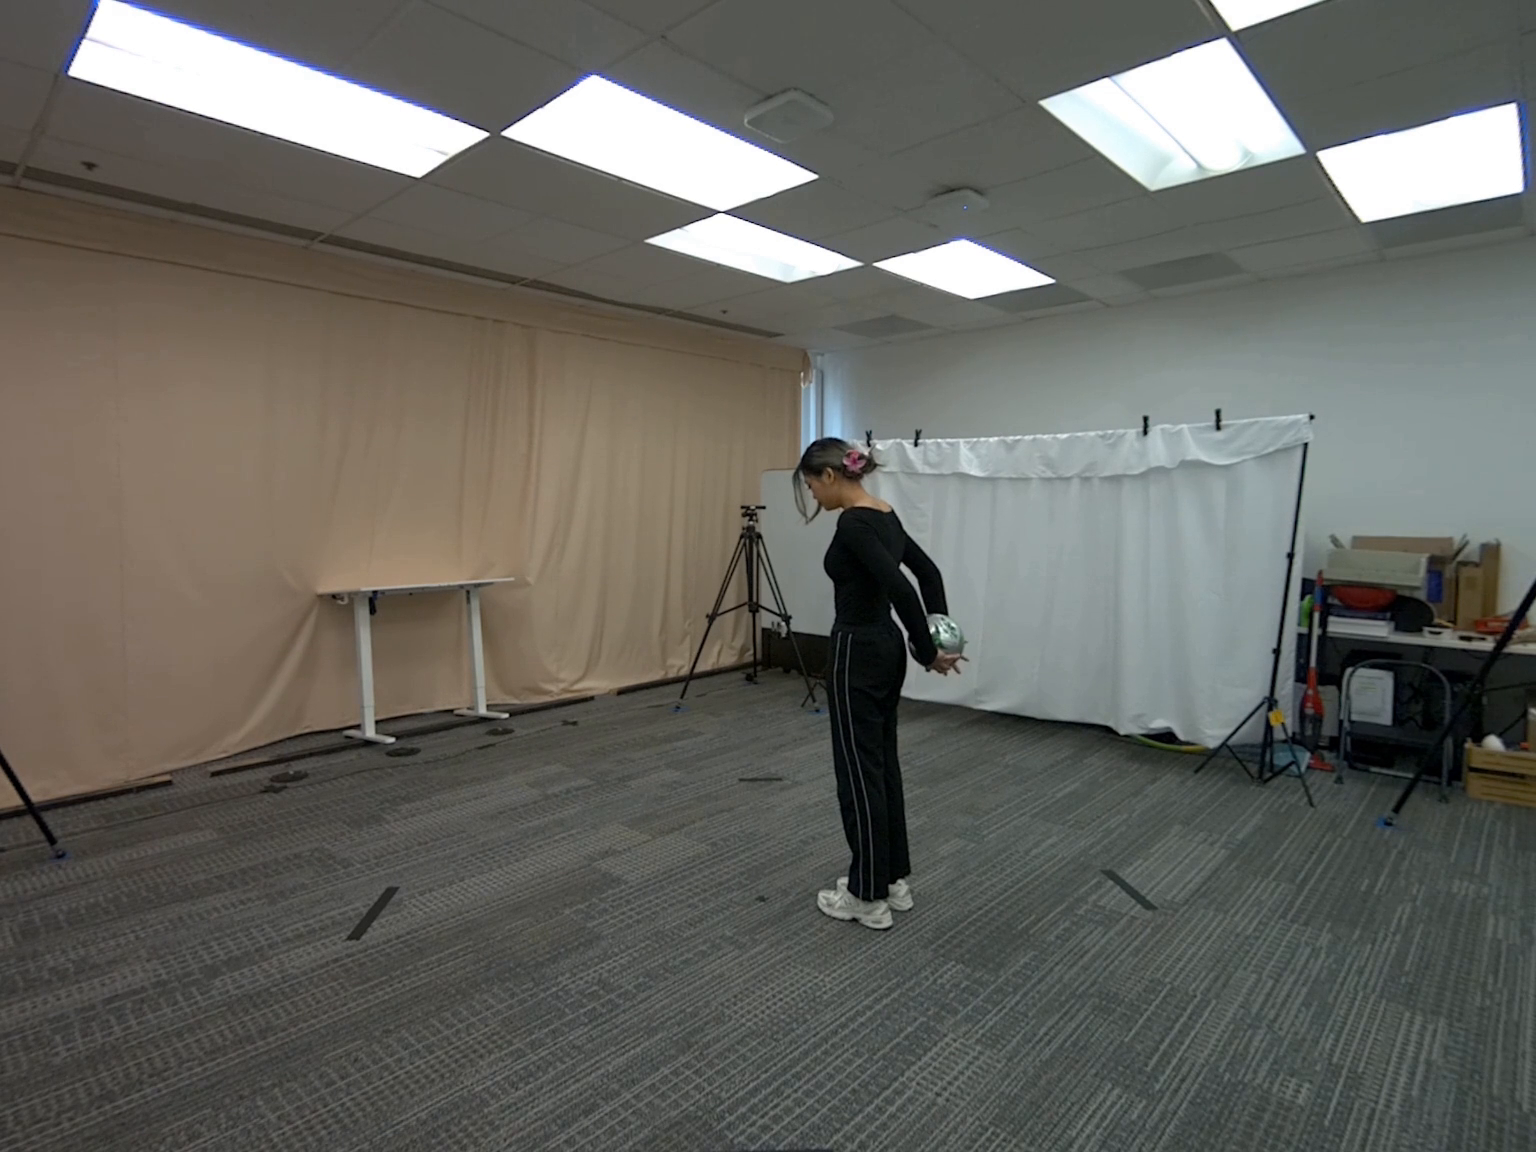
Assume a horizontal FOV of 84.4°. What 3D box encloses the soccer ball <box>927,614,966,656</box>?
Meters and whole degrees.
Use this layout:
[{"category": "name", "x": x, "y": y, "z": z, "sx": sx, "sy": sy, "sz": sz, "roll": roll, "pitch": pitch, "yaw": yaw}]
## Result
[{"category": "soccer ball", "x": 0.561, "y": 0.218, "z": 2.811, "sx": 0.187, "sy": 0.187, "sz": 0.188, "roll": 0, "pitch": 4, "yaw": -2}]
